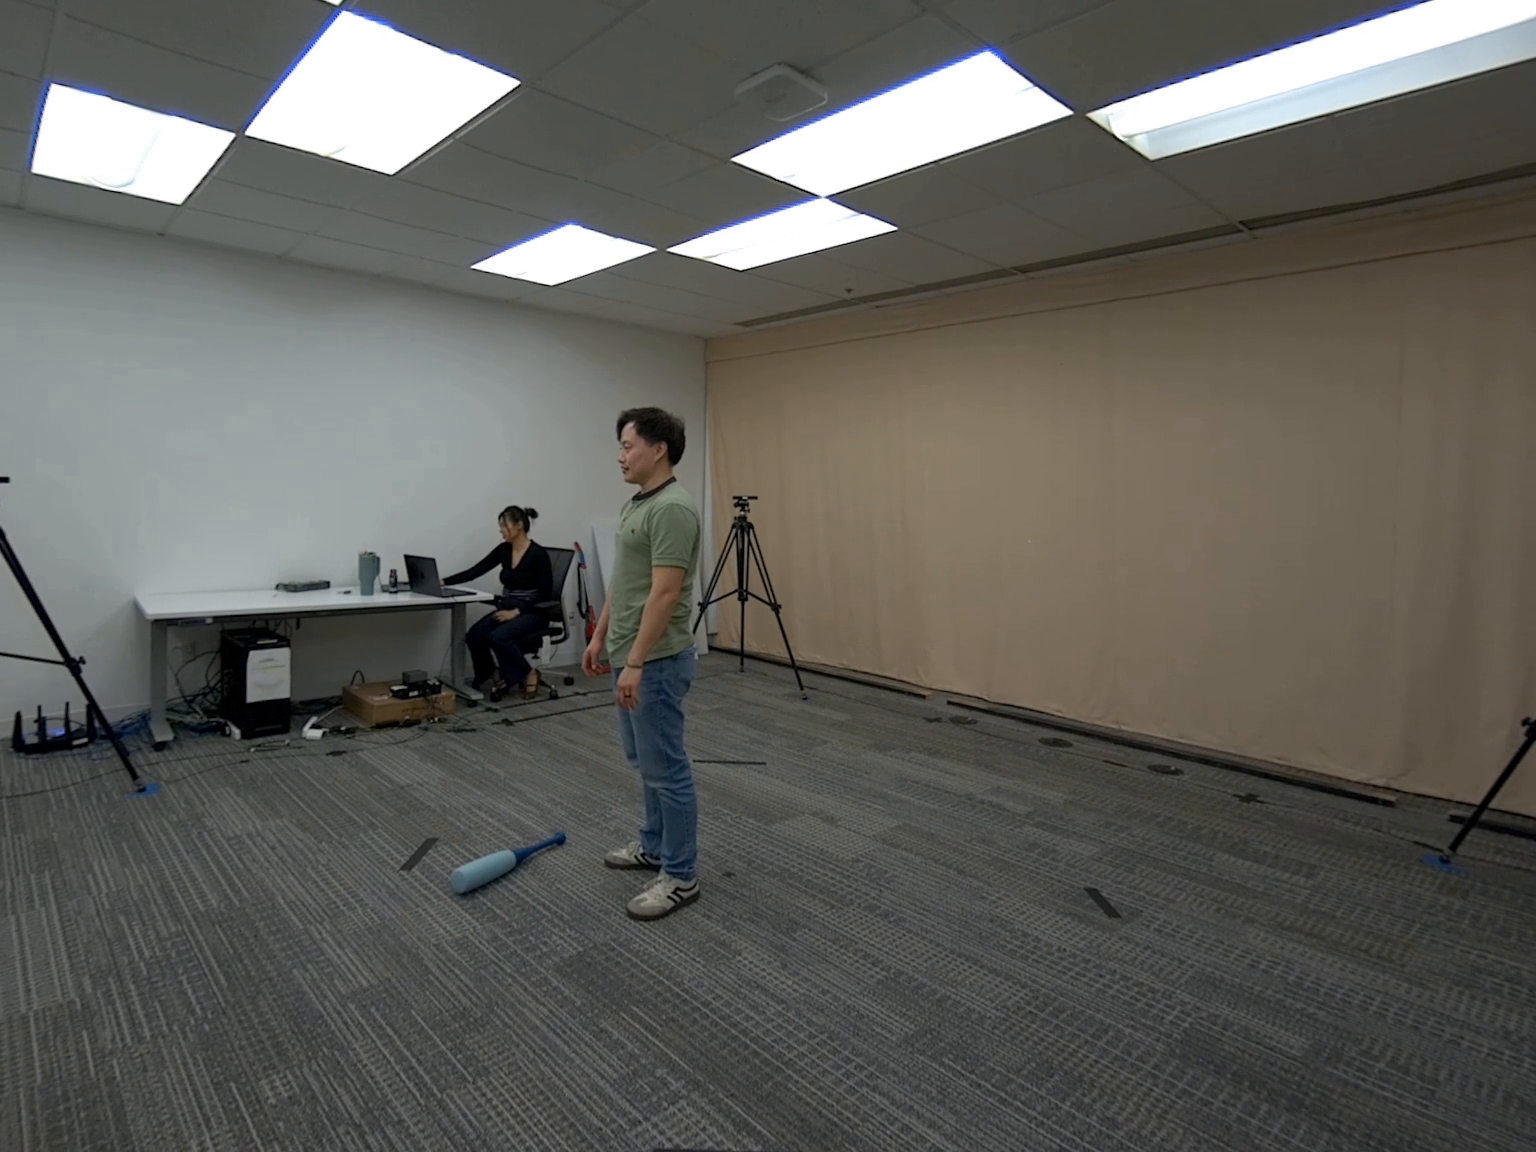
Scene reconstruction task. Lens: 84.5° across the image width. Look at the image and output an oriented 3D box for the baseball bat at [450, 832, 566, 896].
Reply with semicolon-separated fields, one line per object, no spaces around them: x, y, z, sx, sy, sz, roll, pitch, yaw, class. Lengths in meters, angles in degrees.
-0.947;1.046;3.119;0.091;0.089;0.532;3;2;26;baseball bat
